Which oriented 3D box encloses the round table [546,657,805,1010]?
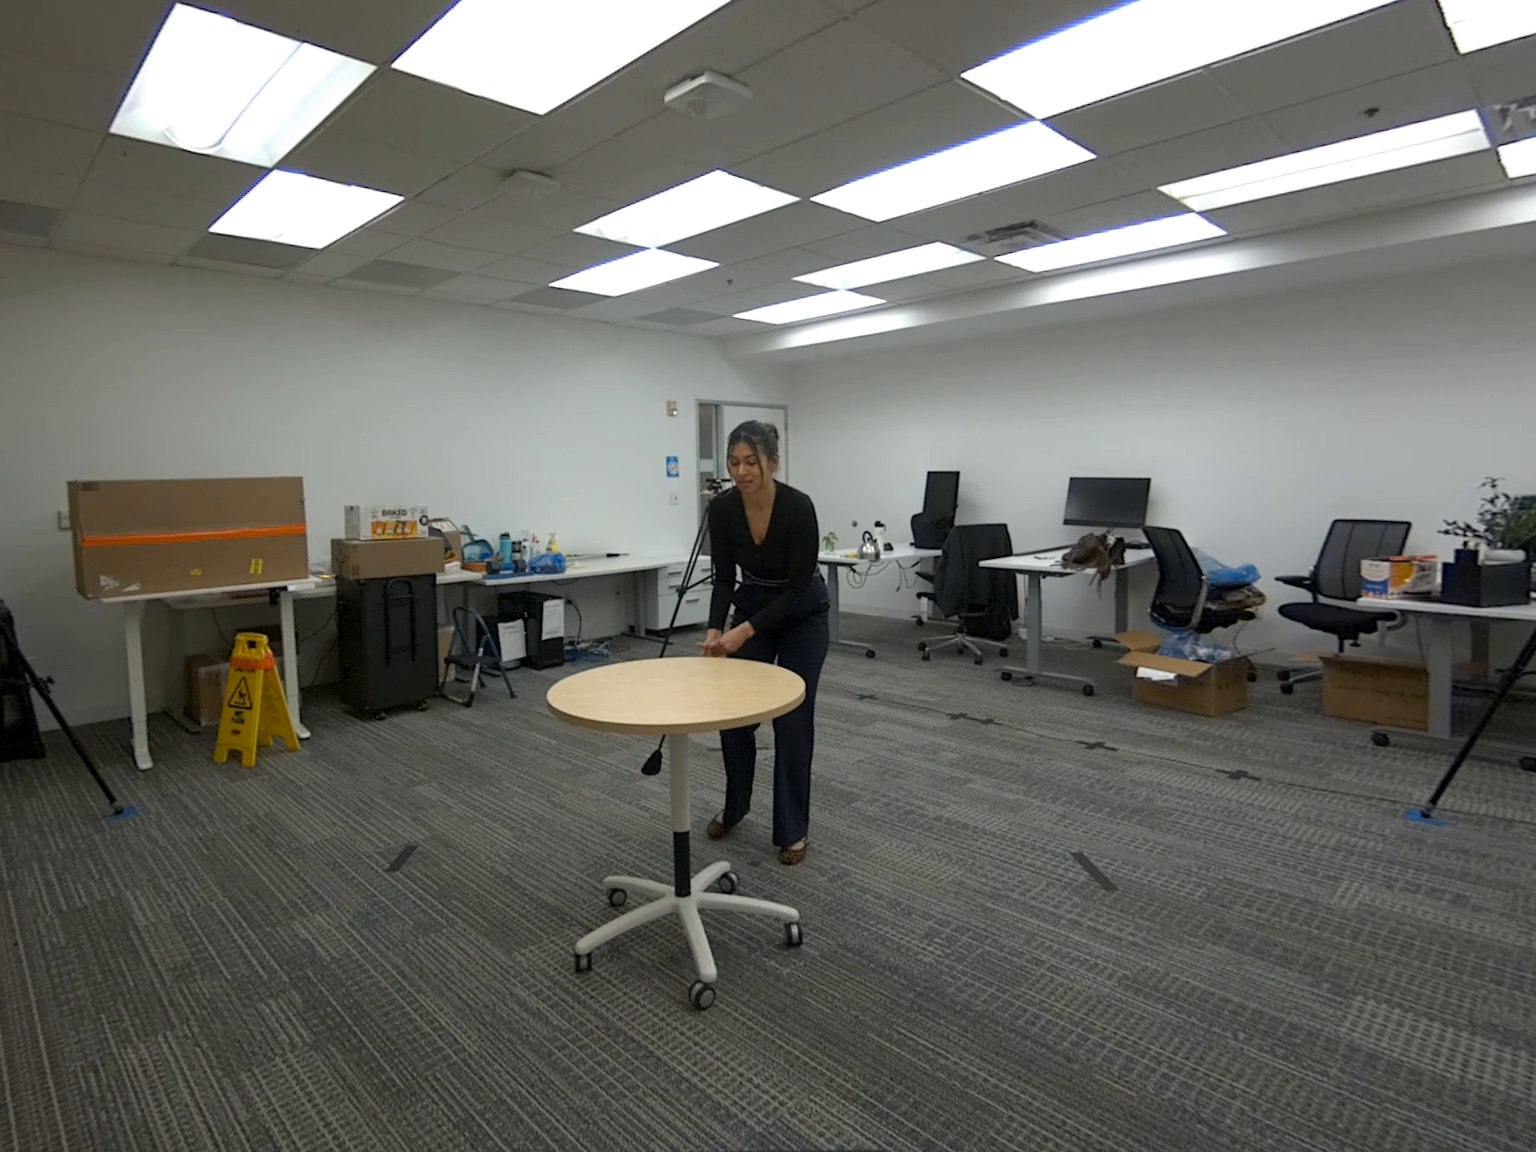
[{"bbox_3d":[-0.261,0.723,2.577,0.763,0.790,0.768,-2,6,-2],"label":"round table"}]
